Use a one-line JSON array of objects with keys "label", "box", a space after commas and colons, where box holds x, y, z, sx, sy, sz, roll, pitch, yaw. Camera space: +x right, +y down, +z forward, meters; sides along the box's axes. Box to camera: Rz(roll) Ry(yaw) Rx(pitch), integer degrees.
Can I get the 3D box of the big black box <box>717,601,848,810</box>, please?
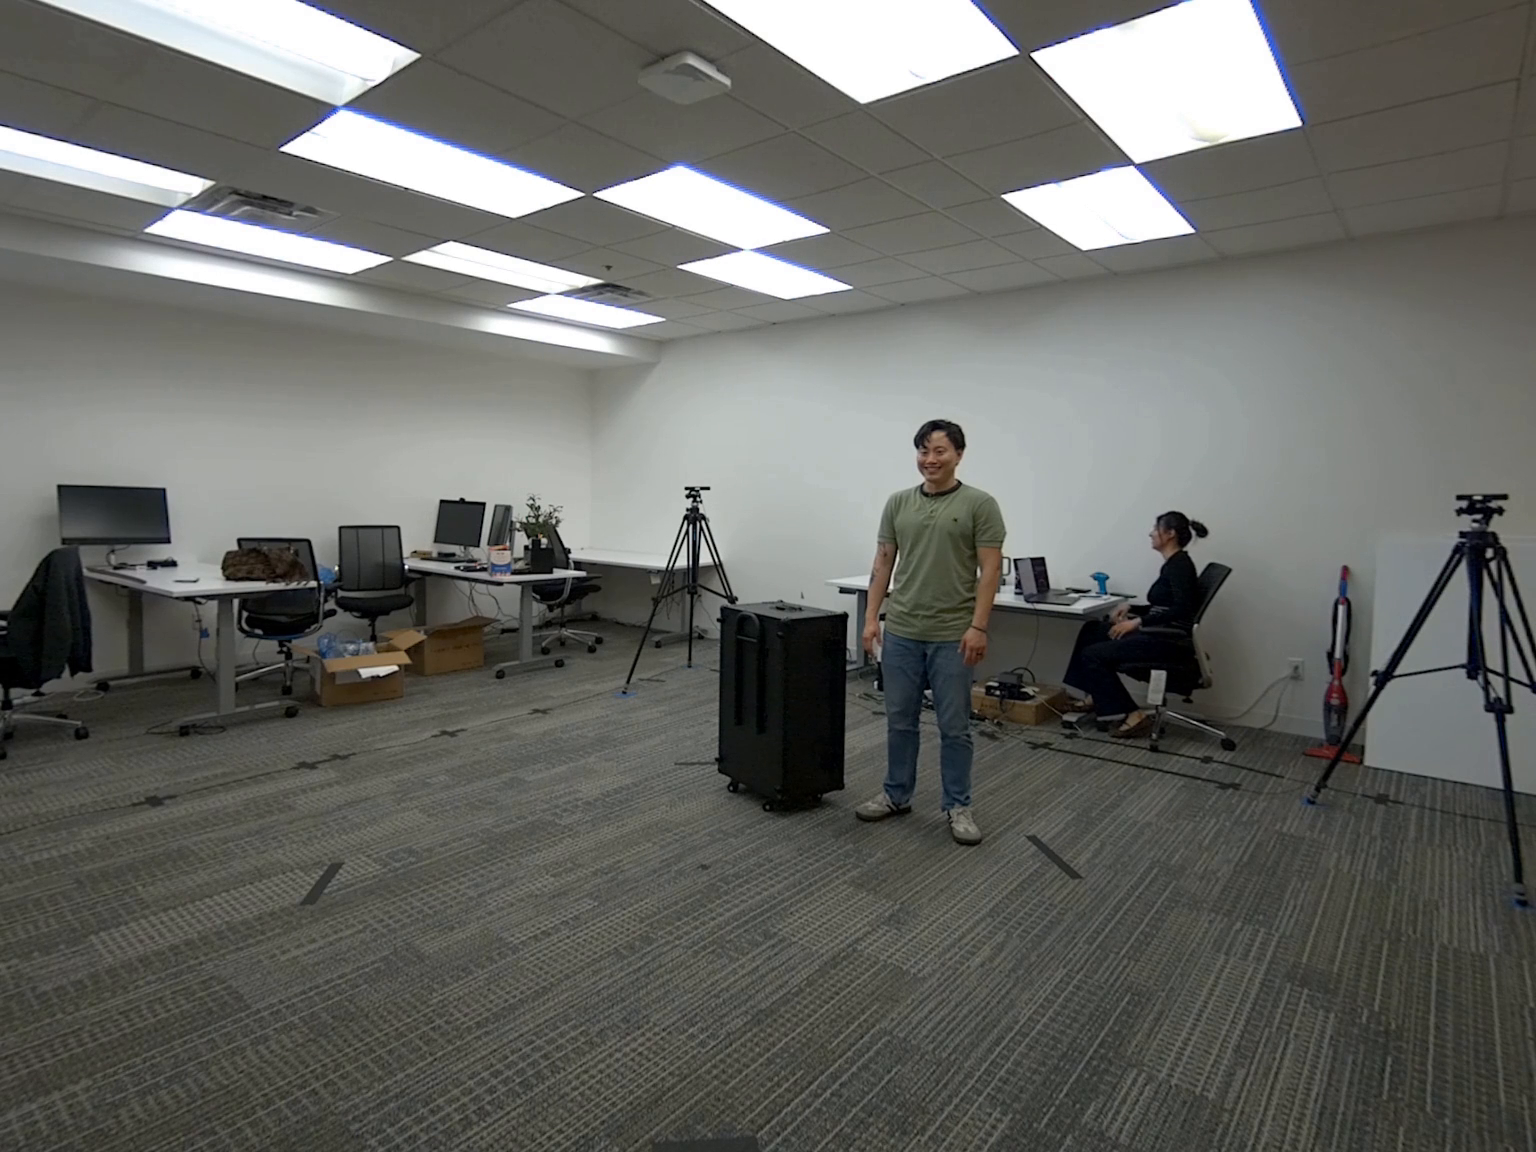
[{"label": "big black box", "box": [0.038, 0.567, 3.839, 0.385, 0.858, 0.538, -2, 5, -35]}]
